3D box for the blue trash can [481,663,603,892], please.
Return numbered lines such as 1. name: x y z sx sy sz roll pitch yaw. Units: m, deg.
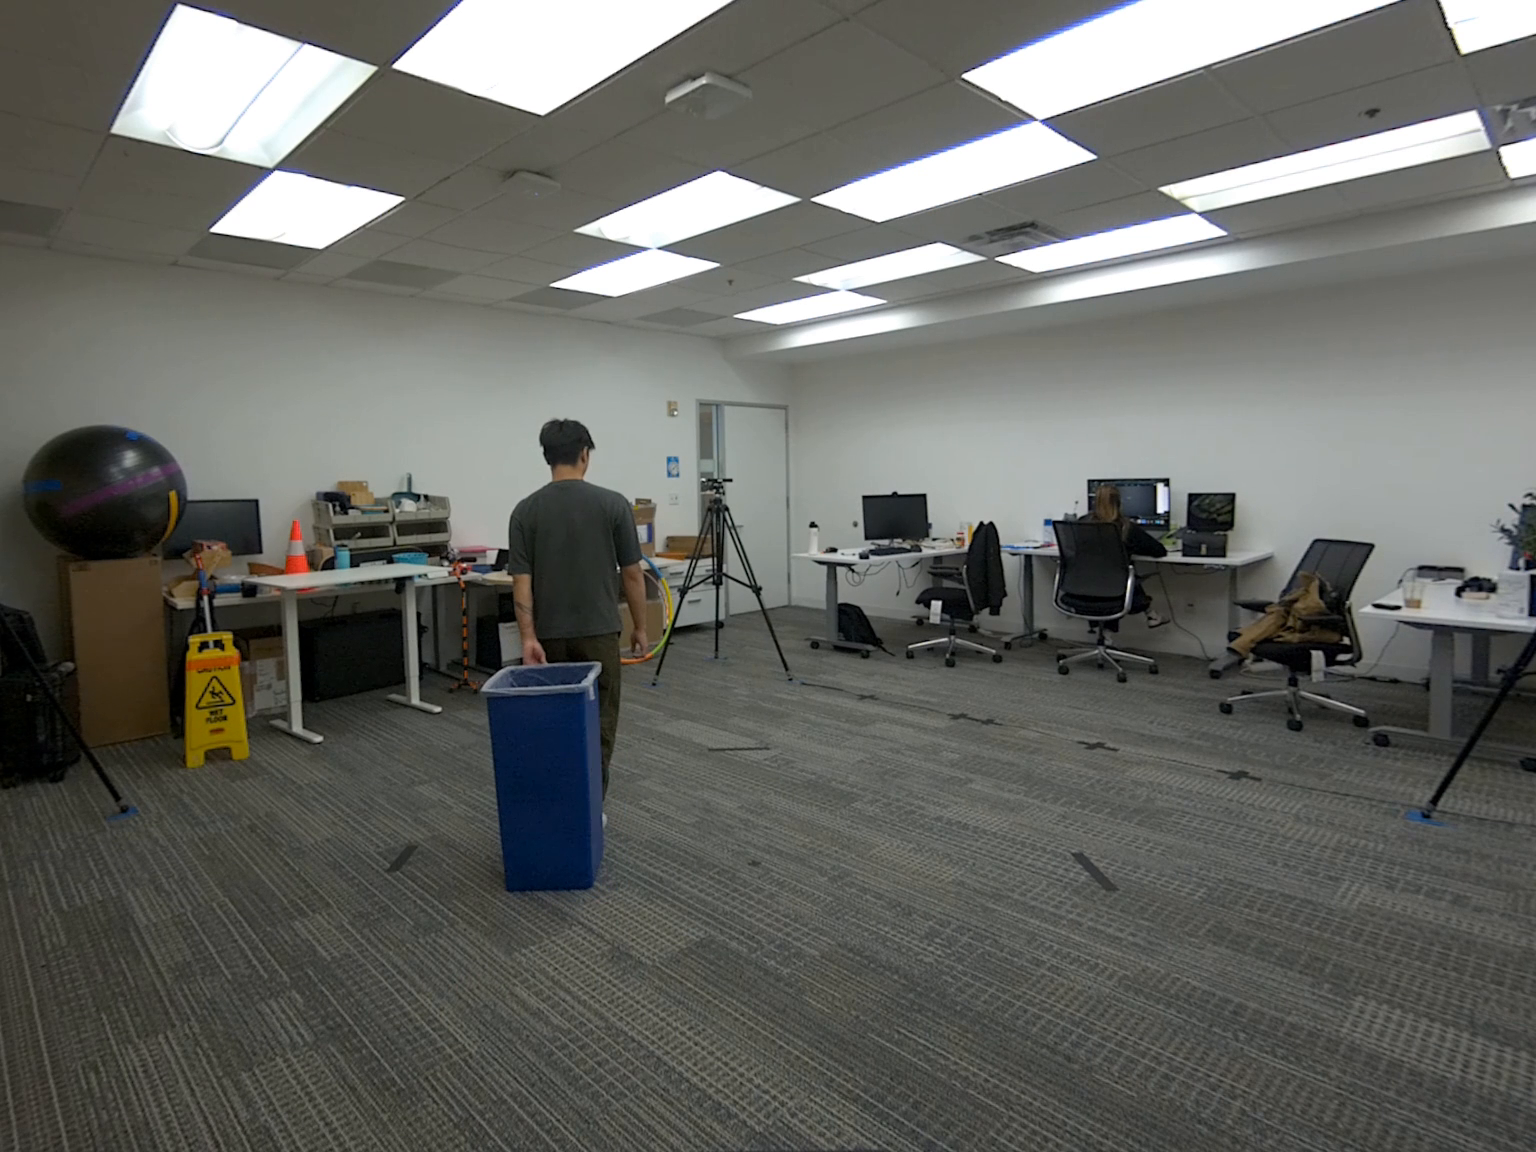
1. blue trash can: -0.789 0.710 3.056 0.373 0.711 0.380 -2 4 -2
